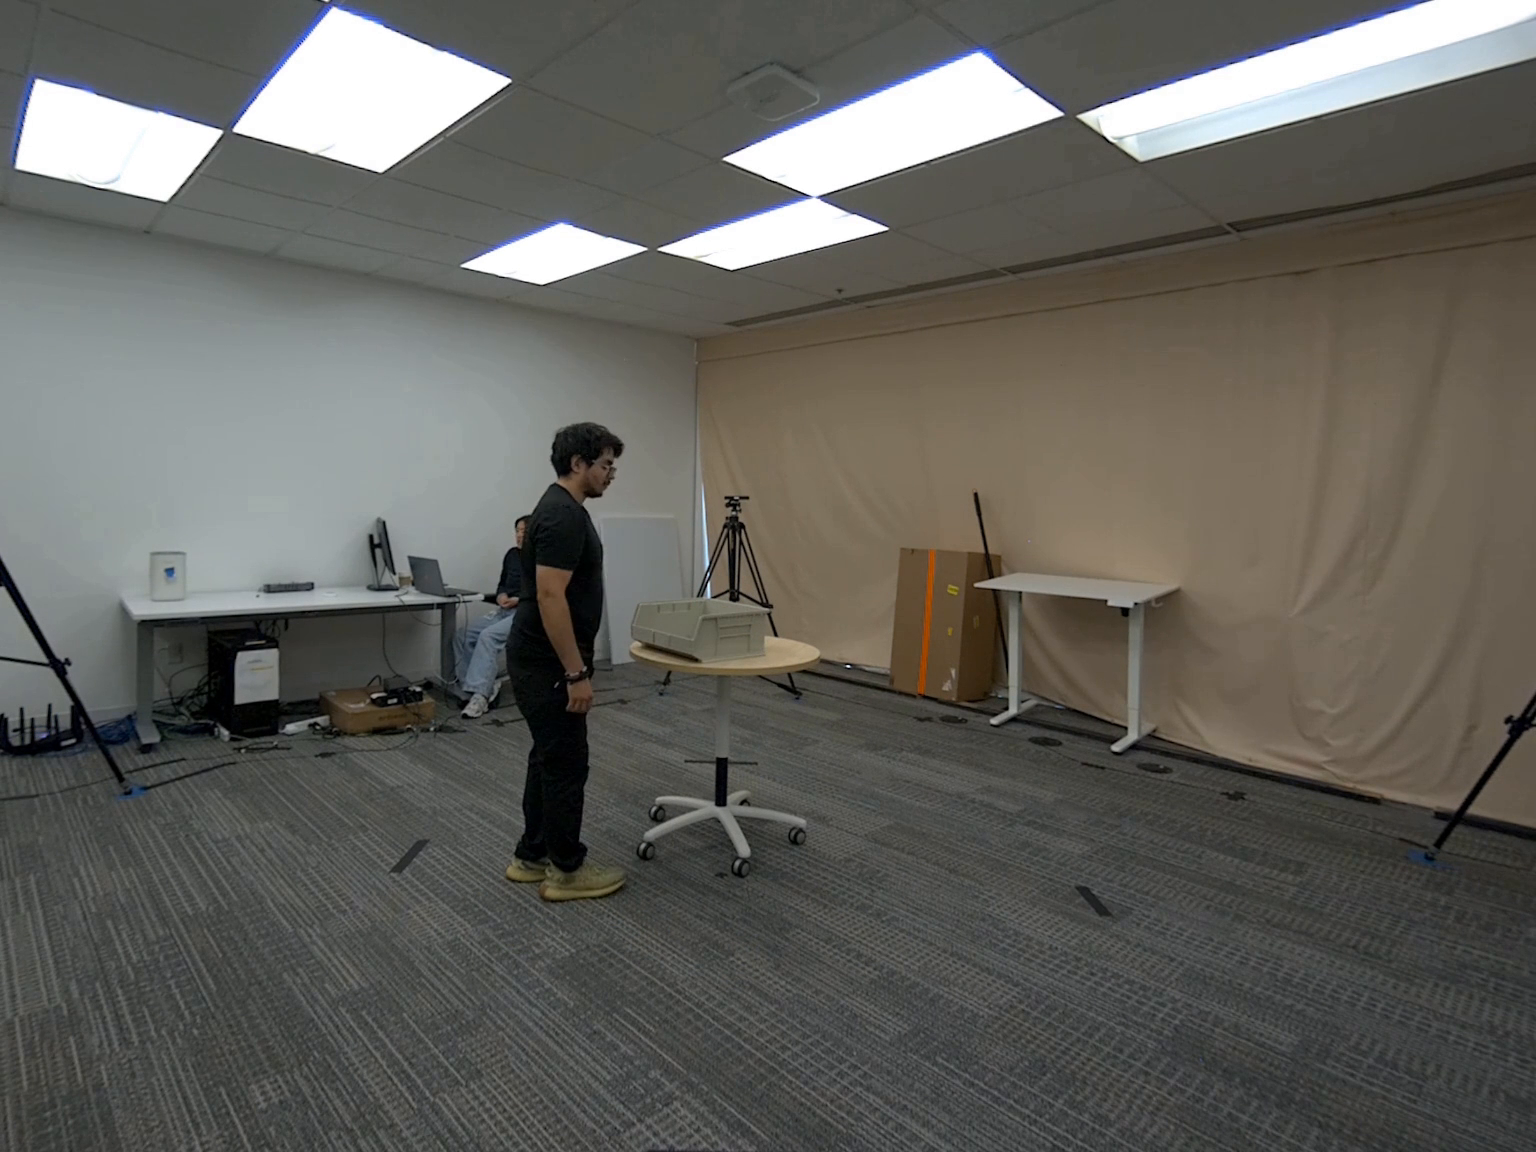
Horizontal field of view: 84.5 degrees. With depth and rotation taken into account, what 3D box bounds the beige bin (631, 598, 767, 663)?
[{"bbox_3d":[-0.277,0.210,3.323,0.368,0.188,0.433,-1,5,-42],"label":"beige bin"}]
